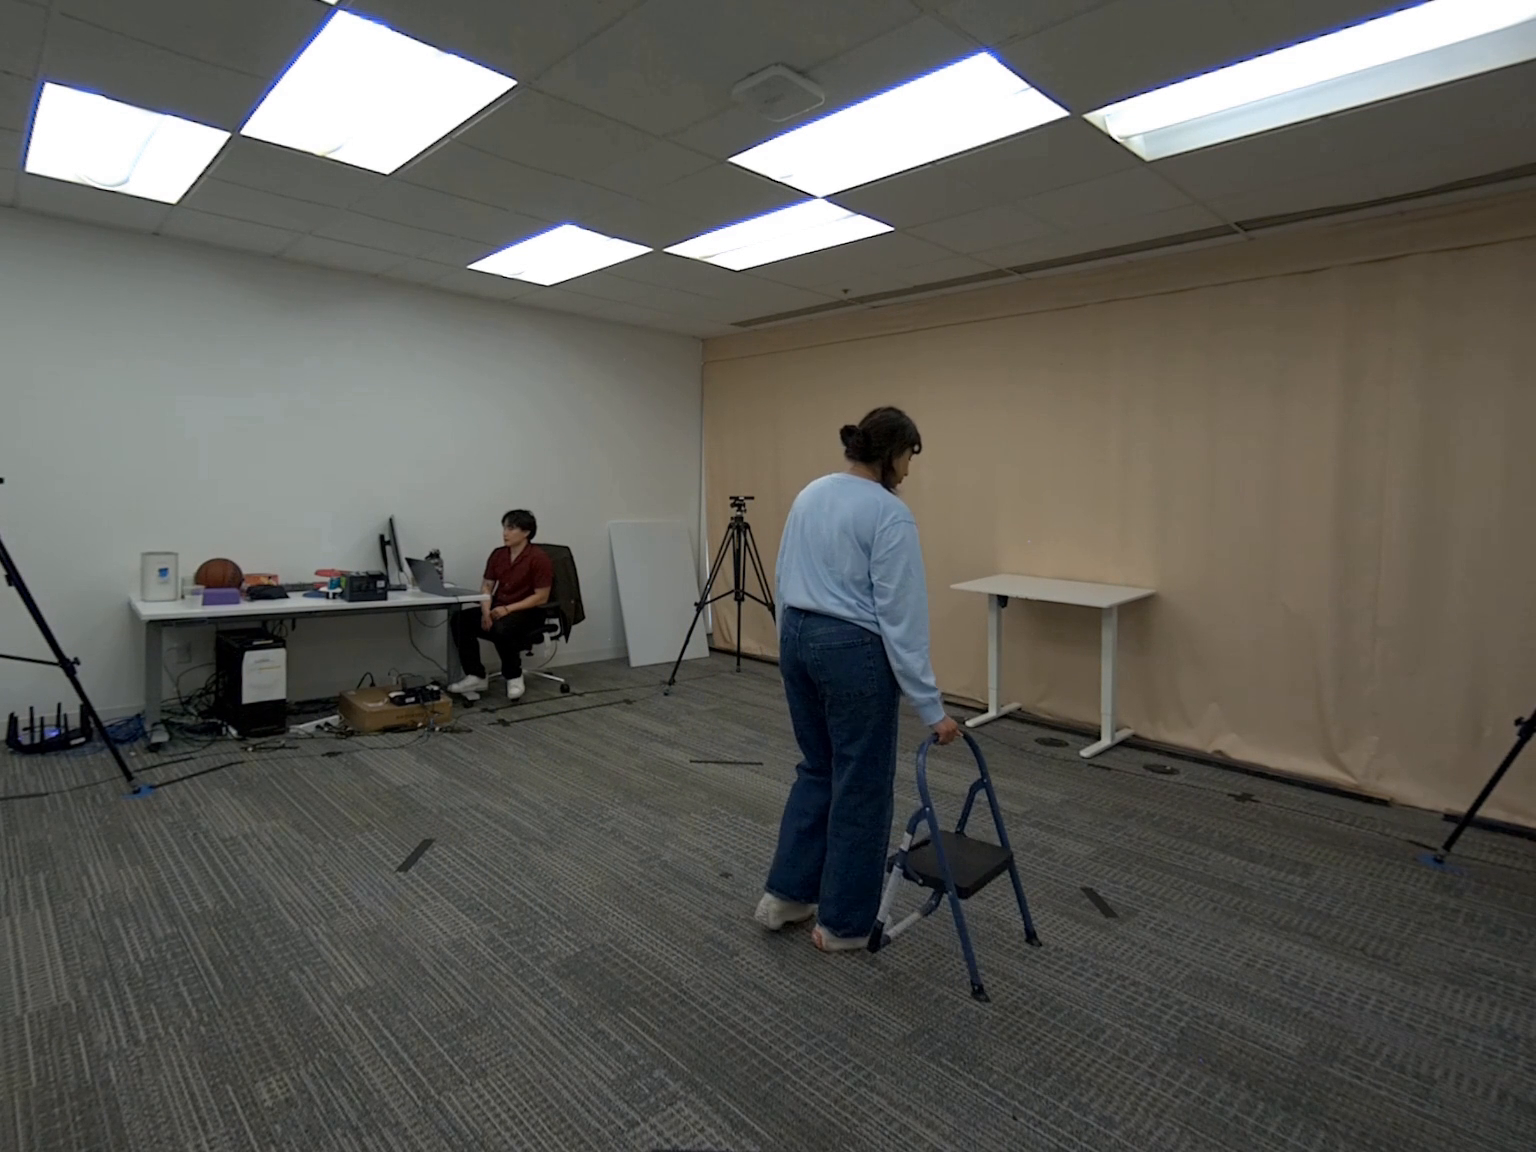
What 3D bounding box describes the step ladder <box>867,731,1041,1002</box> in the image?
[{"bbox_3d":[0.547,0.762,2.384,0.358,0.605,0.420,5,2,37],"label":"step ladder"}]
